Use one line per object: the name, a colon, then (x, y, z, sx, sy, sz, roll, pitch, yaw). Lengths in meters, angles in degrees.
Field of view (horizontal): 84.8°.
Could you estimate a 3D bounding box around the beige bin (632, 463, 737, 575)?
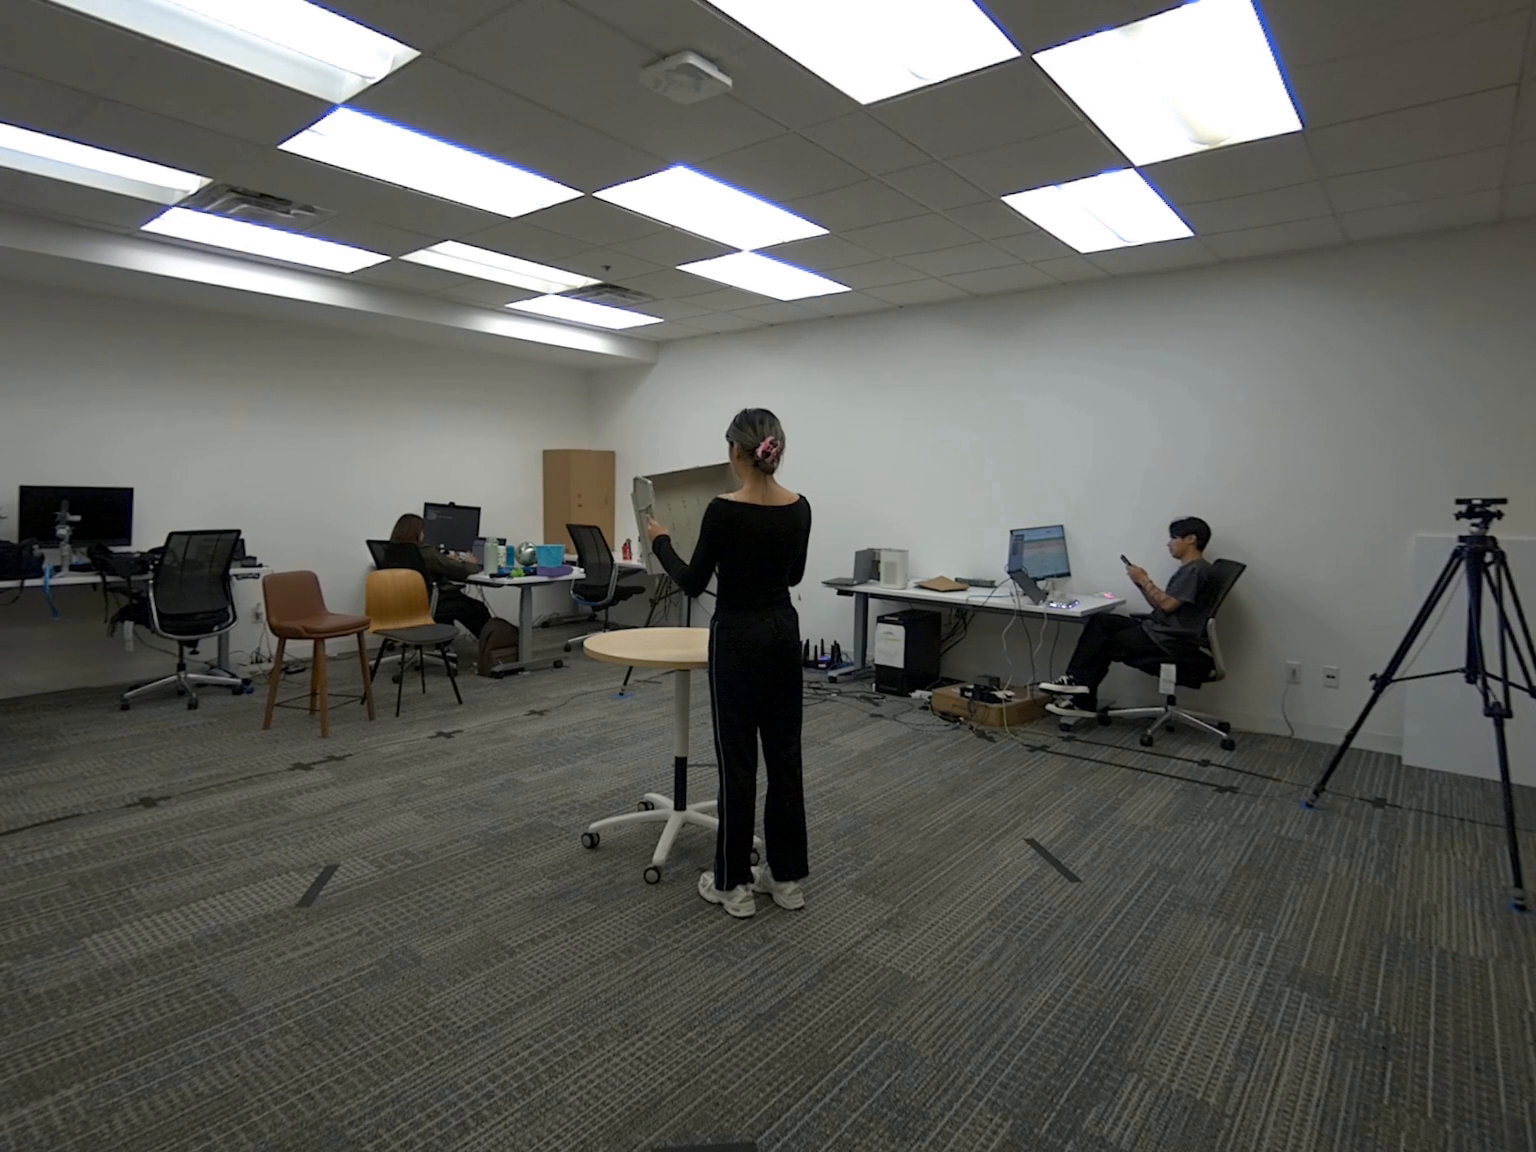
beige bin: (-0.278, -0.226, 3.184, 0.413, 0.377, 0.193, -14, 1, -31)
